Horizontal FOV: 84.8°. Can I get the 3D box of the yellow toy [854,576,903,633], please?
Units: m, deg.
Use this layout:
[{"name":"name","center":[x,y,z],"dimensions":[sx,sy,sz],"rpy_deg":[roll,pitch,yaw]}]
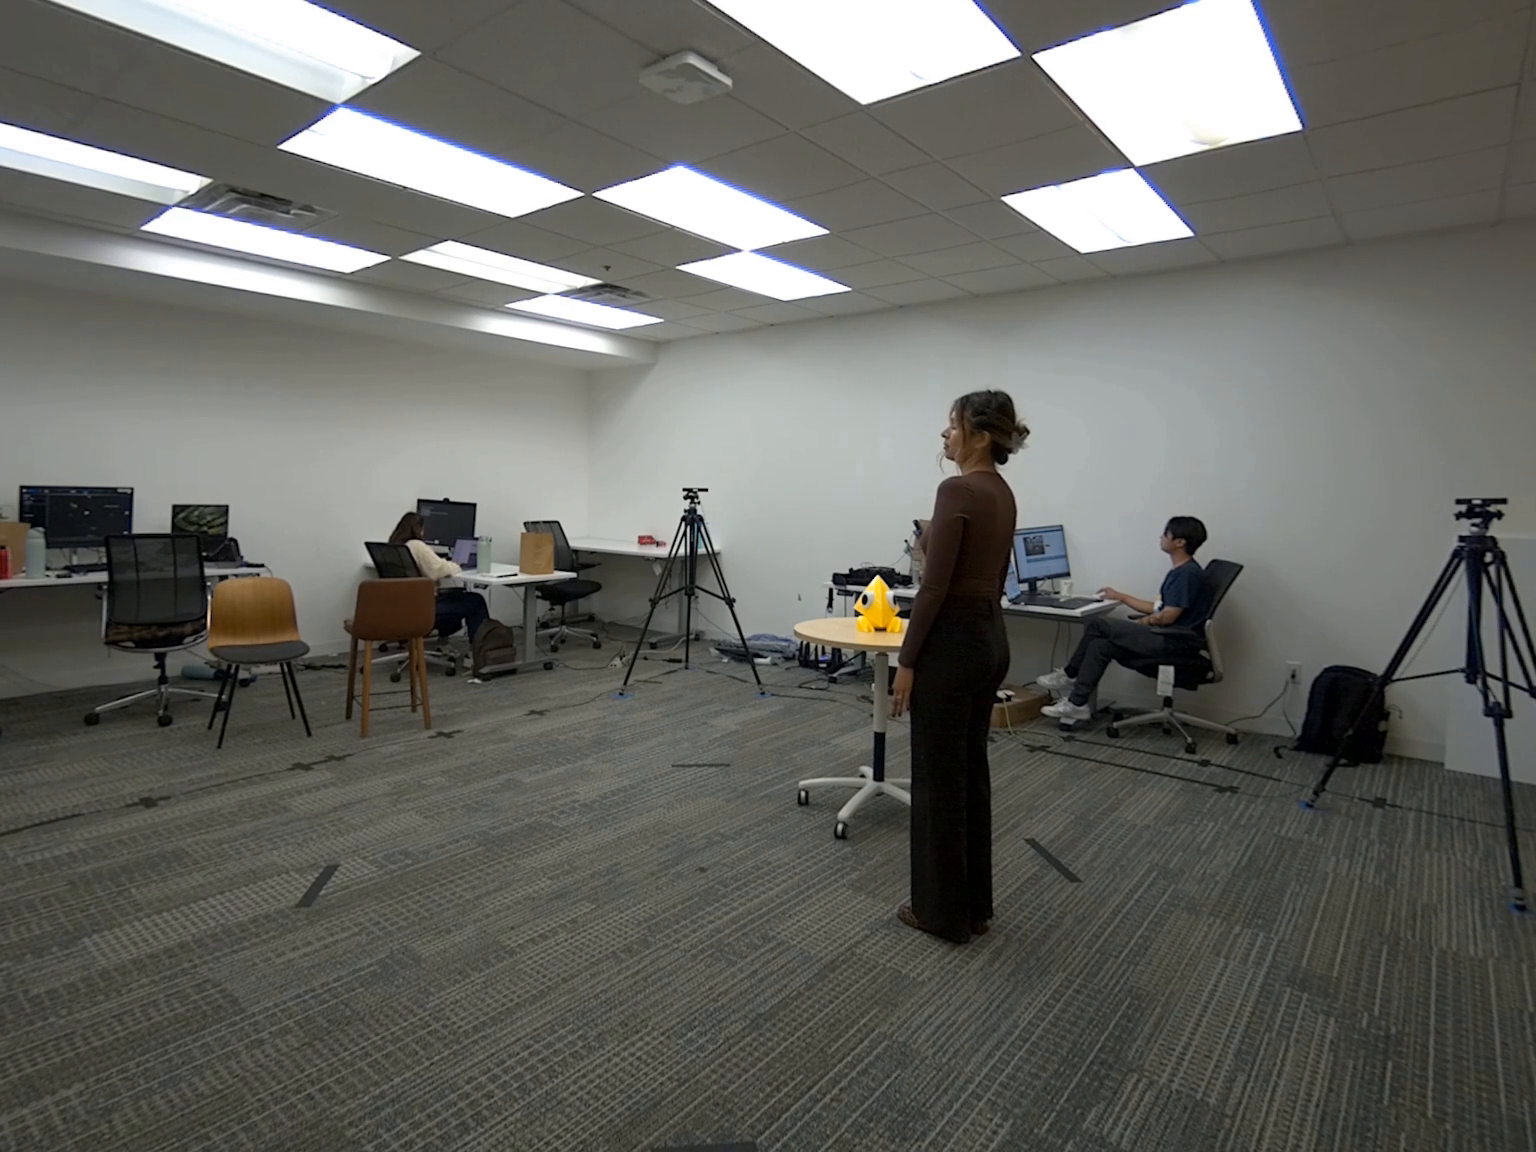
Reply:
[{"name":"yellow toy","center":[0.481,0.114,3.699],"dimensions":[0.205,0.230,0.194],"rpy_deg":[1,4,0]}]
